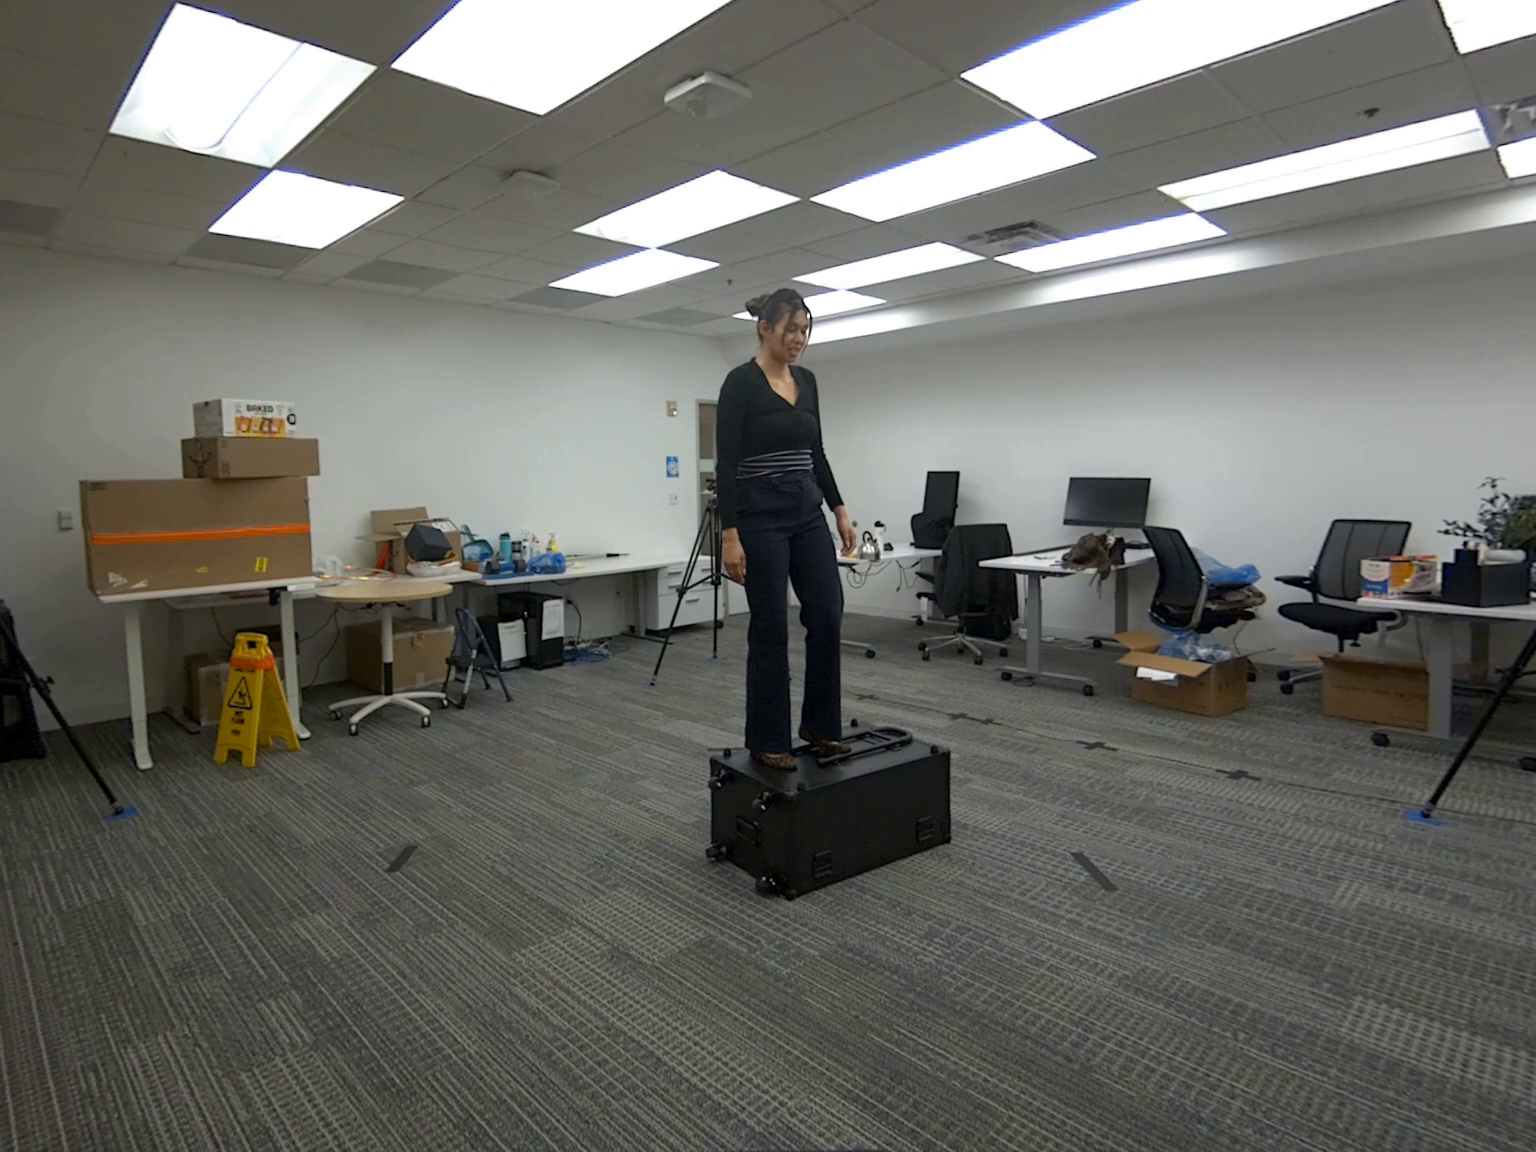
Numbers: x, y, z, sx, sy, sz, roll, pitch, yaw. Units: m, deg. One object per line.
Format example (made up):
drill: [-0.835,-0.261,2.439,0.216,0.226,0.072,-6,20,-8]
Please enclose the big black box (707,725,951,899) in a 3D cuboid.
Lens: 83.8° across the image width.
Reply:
big black box: [0.263,0.850,3.242,0.840,0.395,0.536,-5,6,-35]
